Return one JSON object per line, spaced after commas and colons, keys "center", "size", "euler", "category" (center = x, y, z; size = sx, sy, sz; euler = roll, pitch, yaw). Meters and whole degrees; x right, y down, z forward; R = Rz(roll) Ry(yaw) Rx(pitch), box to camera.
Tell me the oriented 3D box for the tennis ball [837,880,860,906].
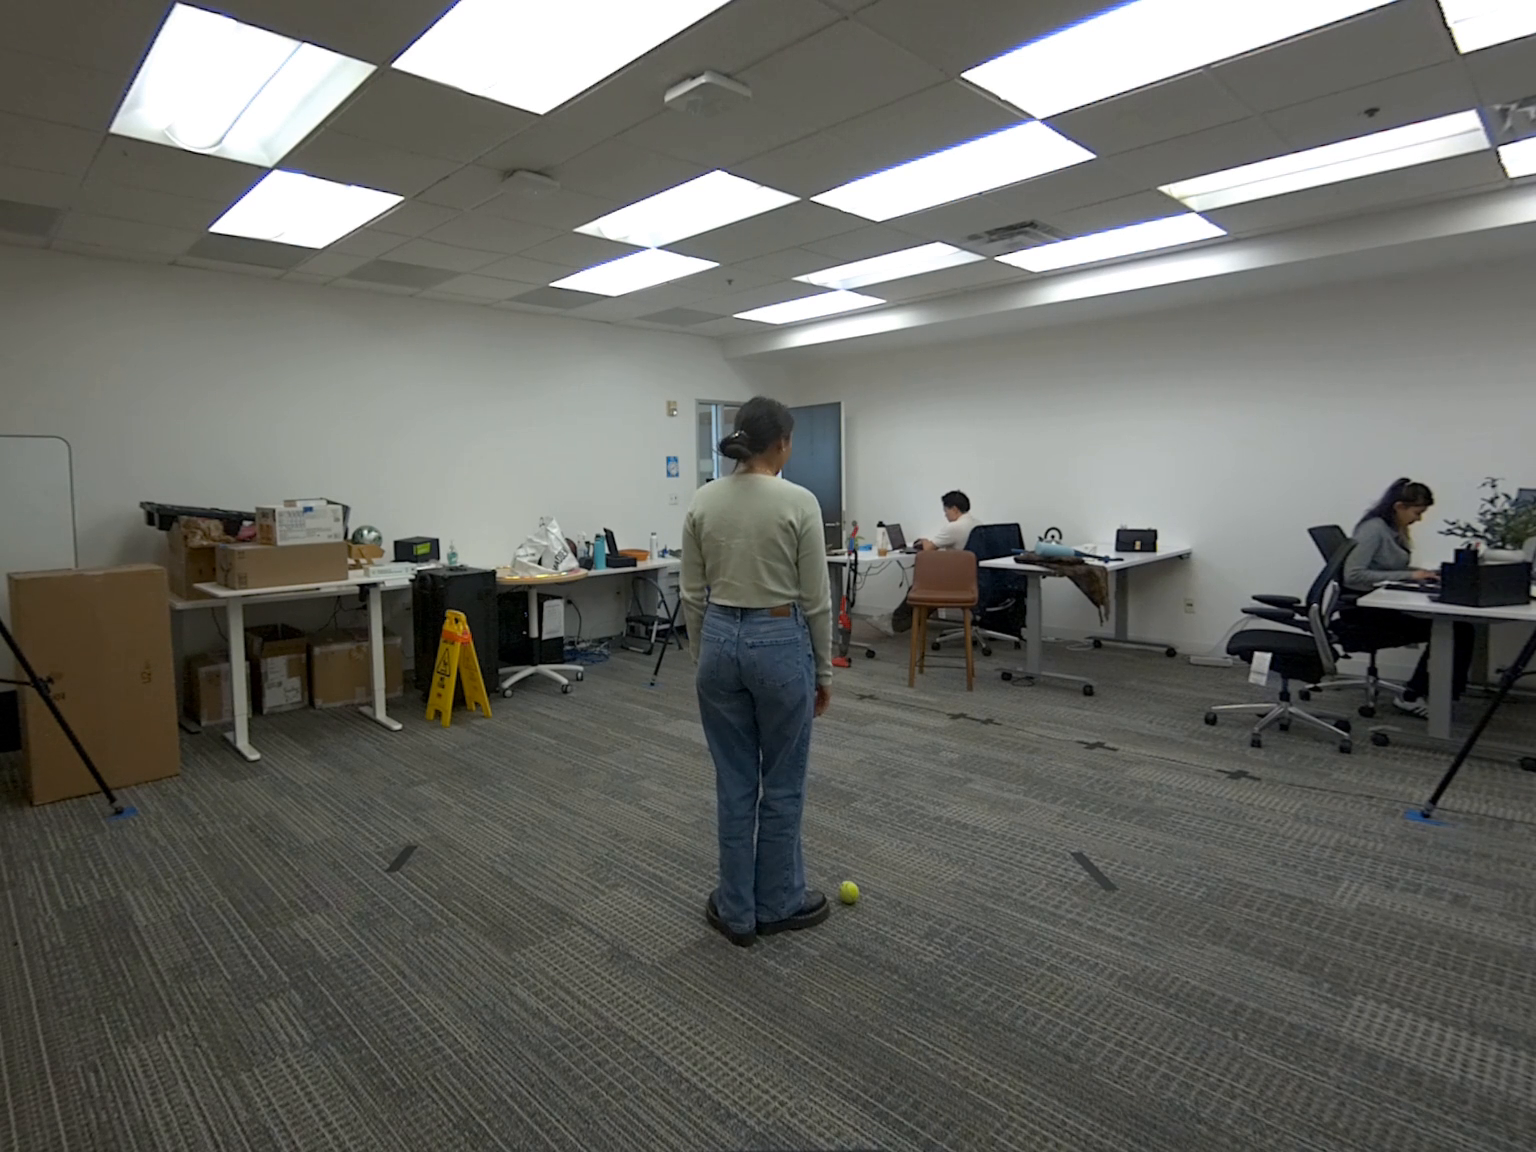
{"center": [0.276, 1.028, 2.805], "size": [0.066, 0.066, 0.067], "euler": [-1, 5, -2], "category": "tennis ball"}
